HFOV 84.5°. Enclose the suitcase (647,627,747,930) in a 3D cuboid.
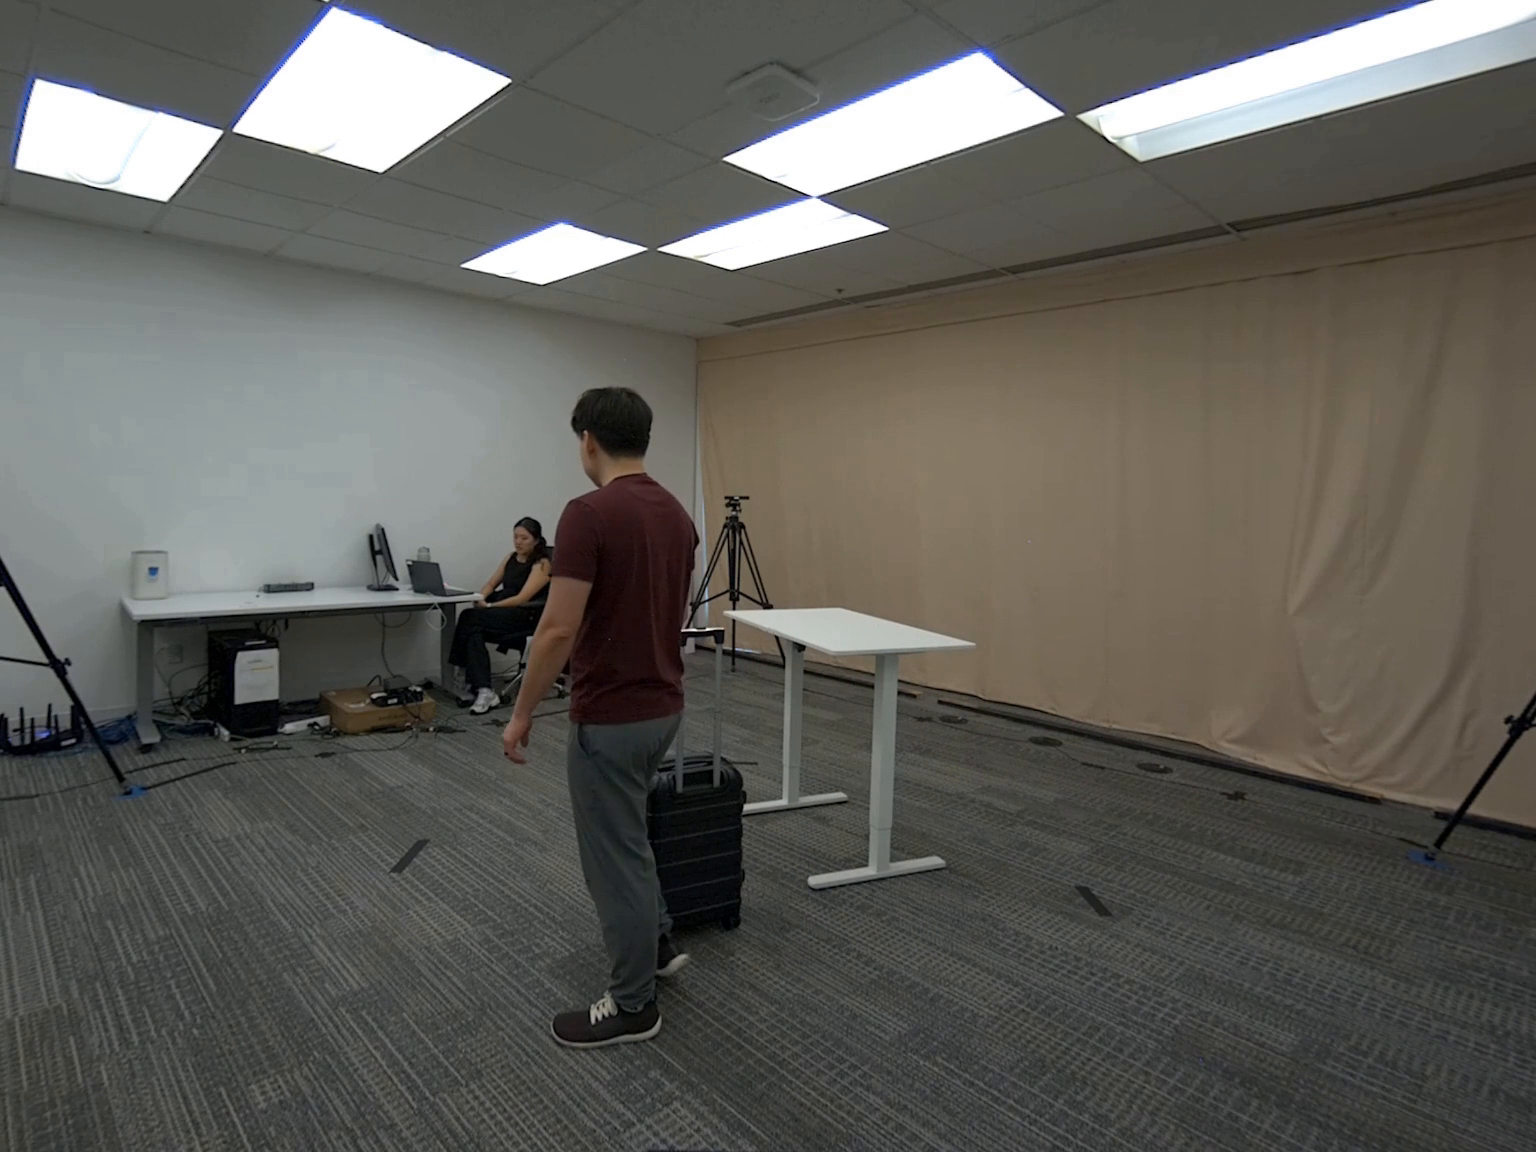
[{"bbox_3d":[-0.277,0.659,2.712,0.377,0.977,0.262,0,3,-26],"label":"suitcase"}]
